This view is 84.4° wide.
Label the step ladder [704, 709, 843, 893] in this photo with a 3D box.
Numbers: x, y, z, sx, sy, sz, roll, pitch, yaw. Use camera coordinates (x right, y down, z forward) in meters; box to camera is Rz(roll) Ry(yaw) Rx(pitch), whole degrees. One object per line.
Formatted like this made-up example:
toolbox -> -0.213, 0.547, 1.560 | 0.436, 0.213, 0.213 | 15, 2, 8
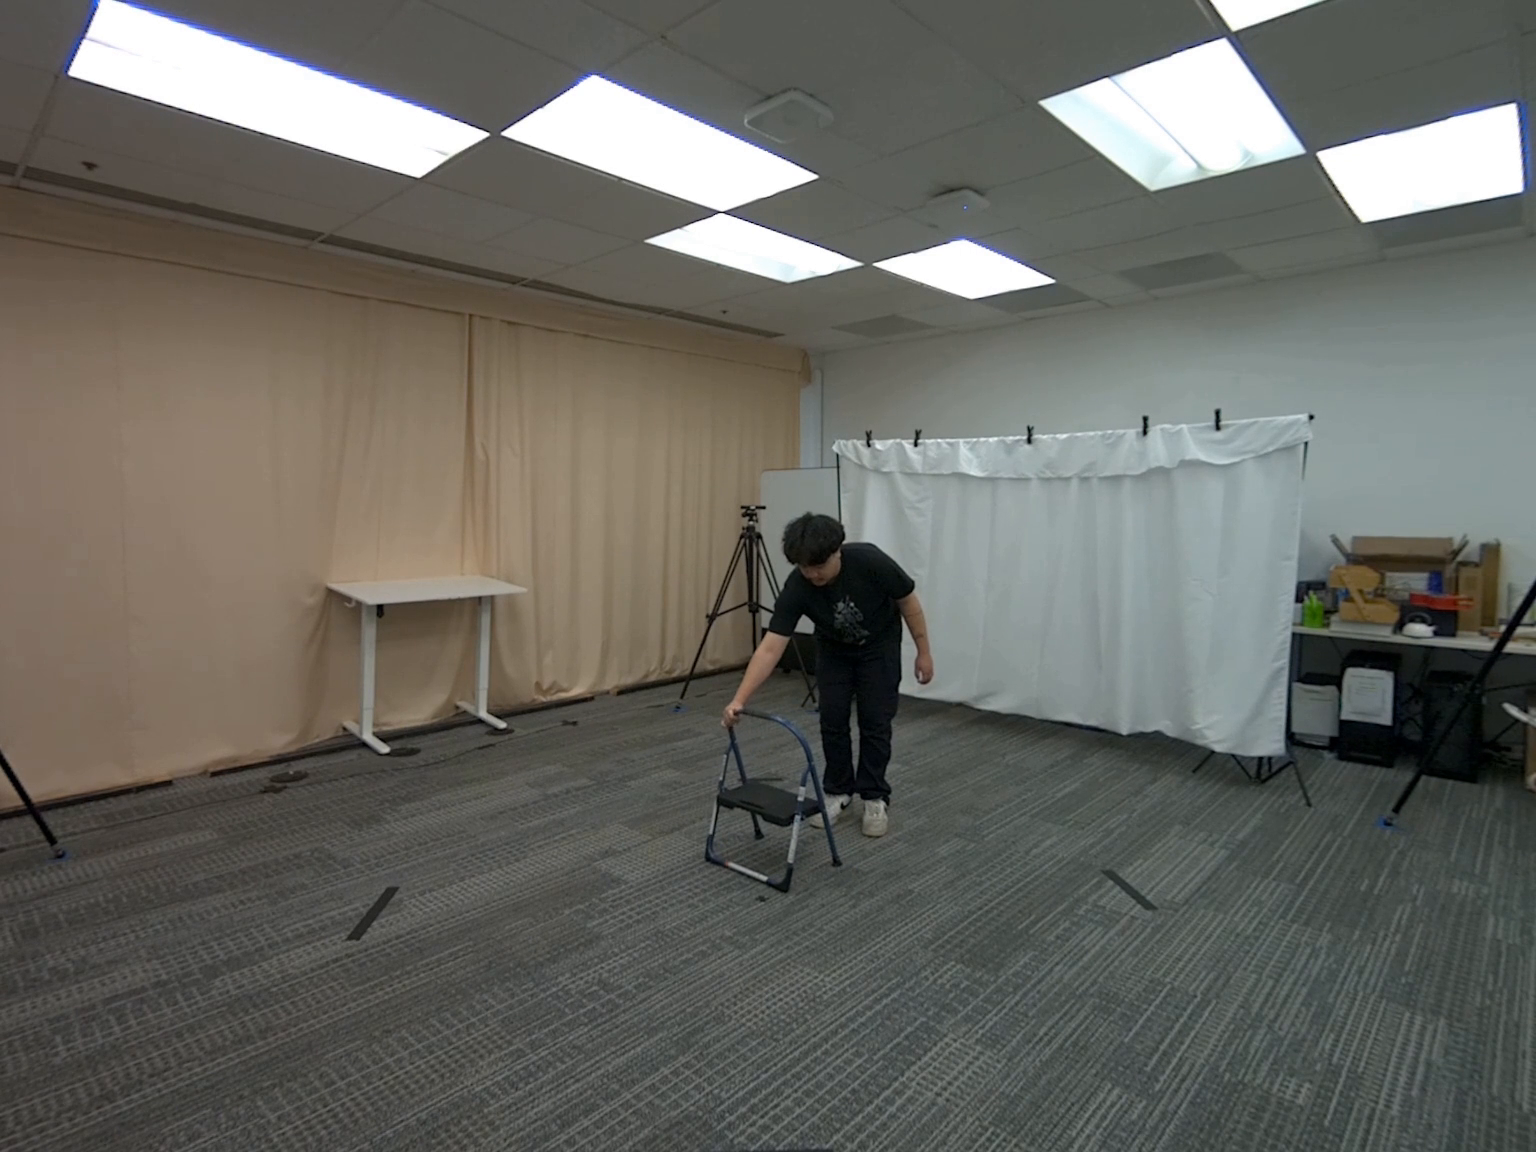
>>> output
step ladder -> 0.023, 0.813, 3.267 | 0.445, 0.604, 0.338 | 4, 5, 41
